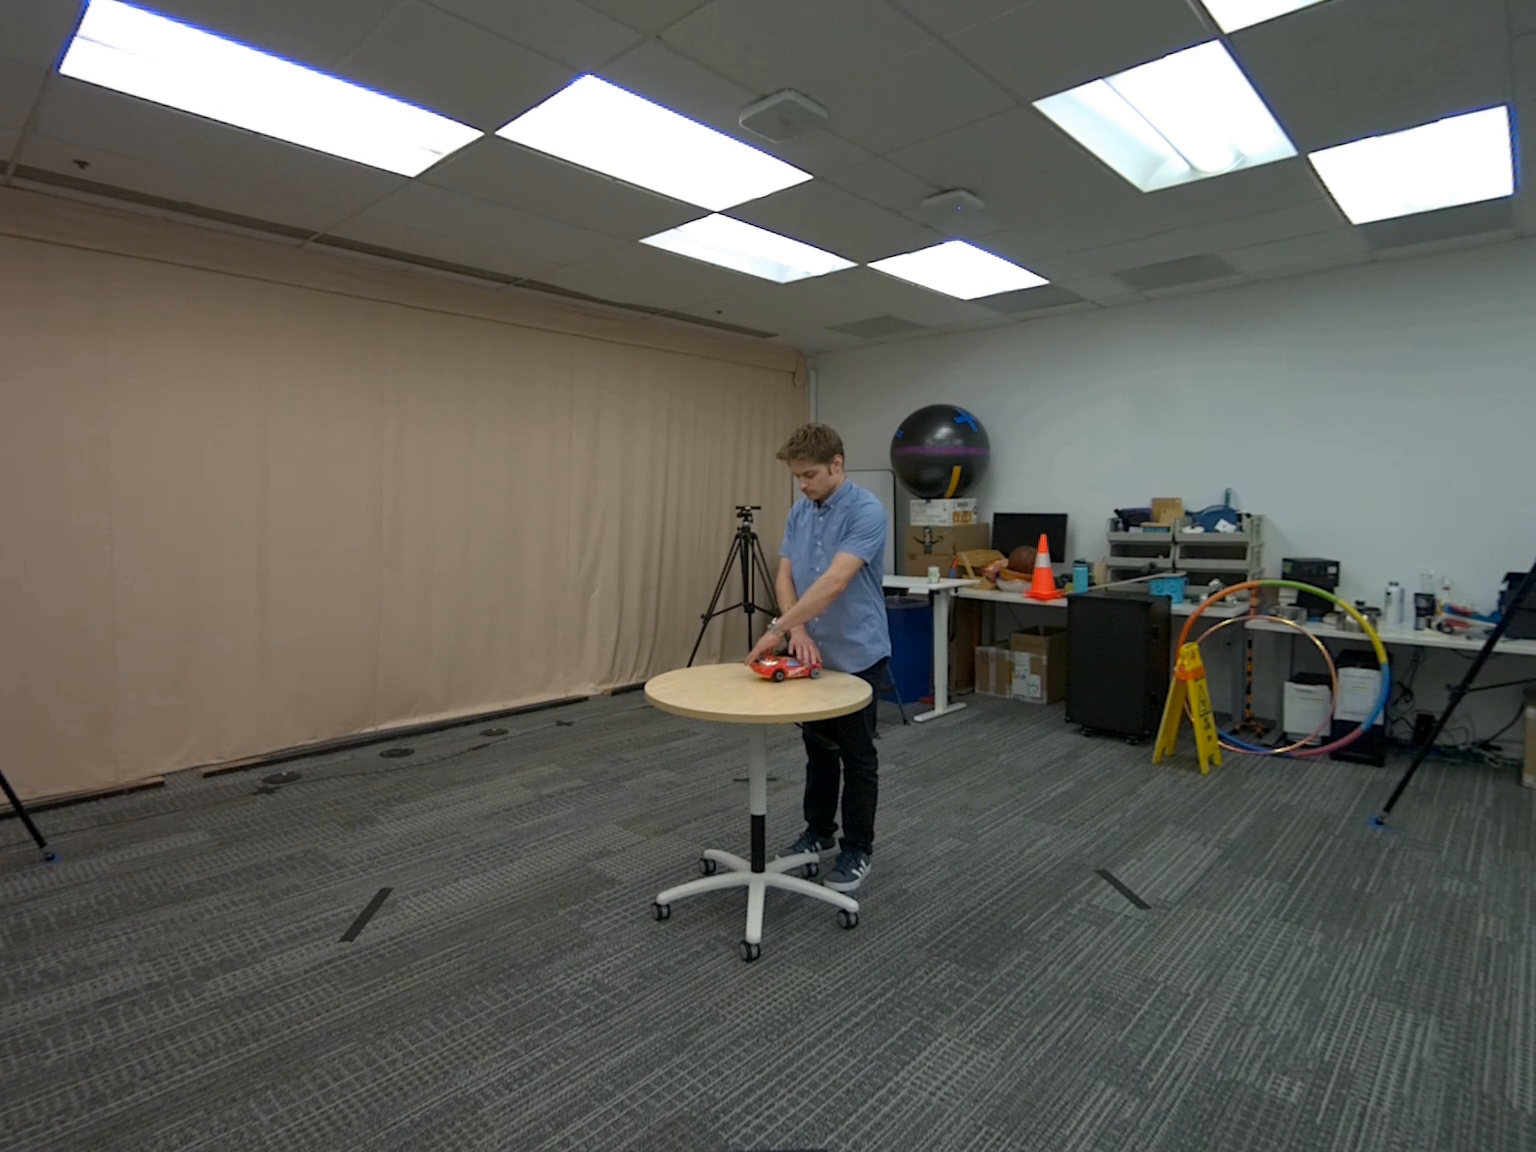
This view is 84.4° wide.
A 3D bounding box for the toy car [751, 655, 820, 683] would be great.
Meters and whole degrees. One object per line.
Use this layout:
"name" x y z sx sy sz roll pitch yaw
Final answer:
"toy car" 0.054 0.331 2.960 0.248 0.083 0.134 11 0 -24
